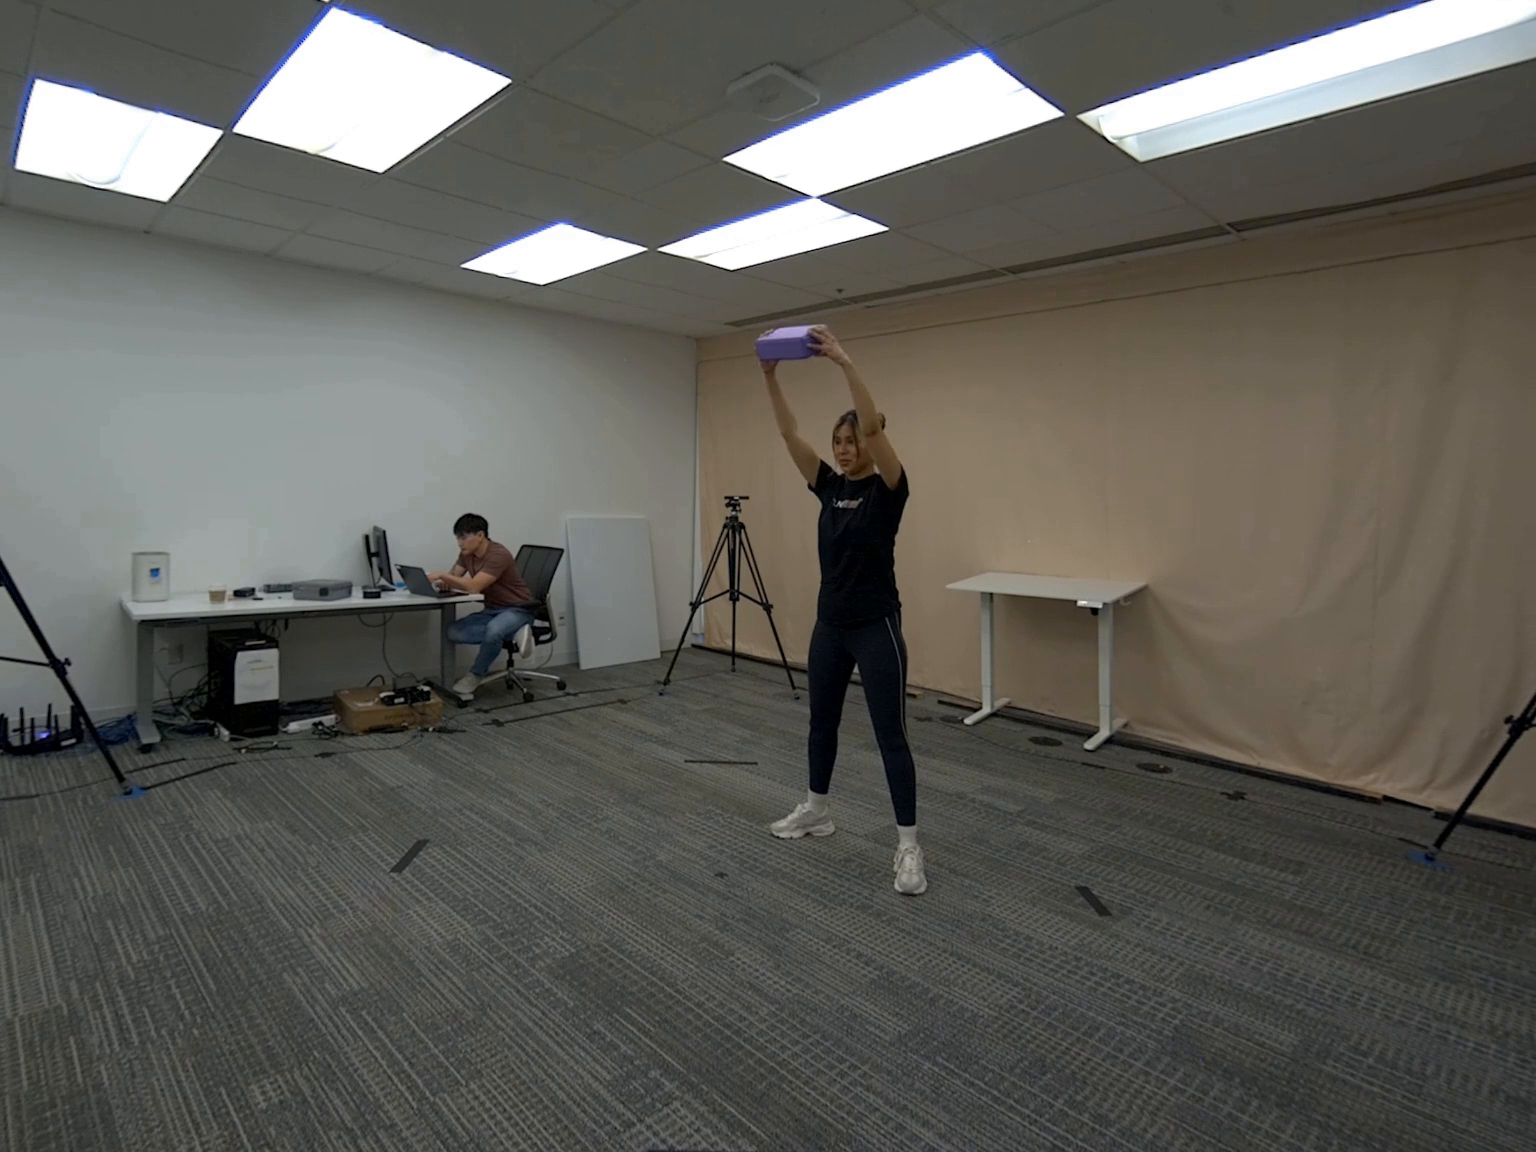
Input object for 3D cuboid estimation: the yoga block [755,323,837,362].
[{"bbox_3d":[0.095,-0.804,2.913,0.236,0.075,0.148,13,38,45],"label":"yoga block"}]
